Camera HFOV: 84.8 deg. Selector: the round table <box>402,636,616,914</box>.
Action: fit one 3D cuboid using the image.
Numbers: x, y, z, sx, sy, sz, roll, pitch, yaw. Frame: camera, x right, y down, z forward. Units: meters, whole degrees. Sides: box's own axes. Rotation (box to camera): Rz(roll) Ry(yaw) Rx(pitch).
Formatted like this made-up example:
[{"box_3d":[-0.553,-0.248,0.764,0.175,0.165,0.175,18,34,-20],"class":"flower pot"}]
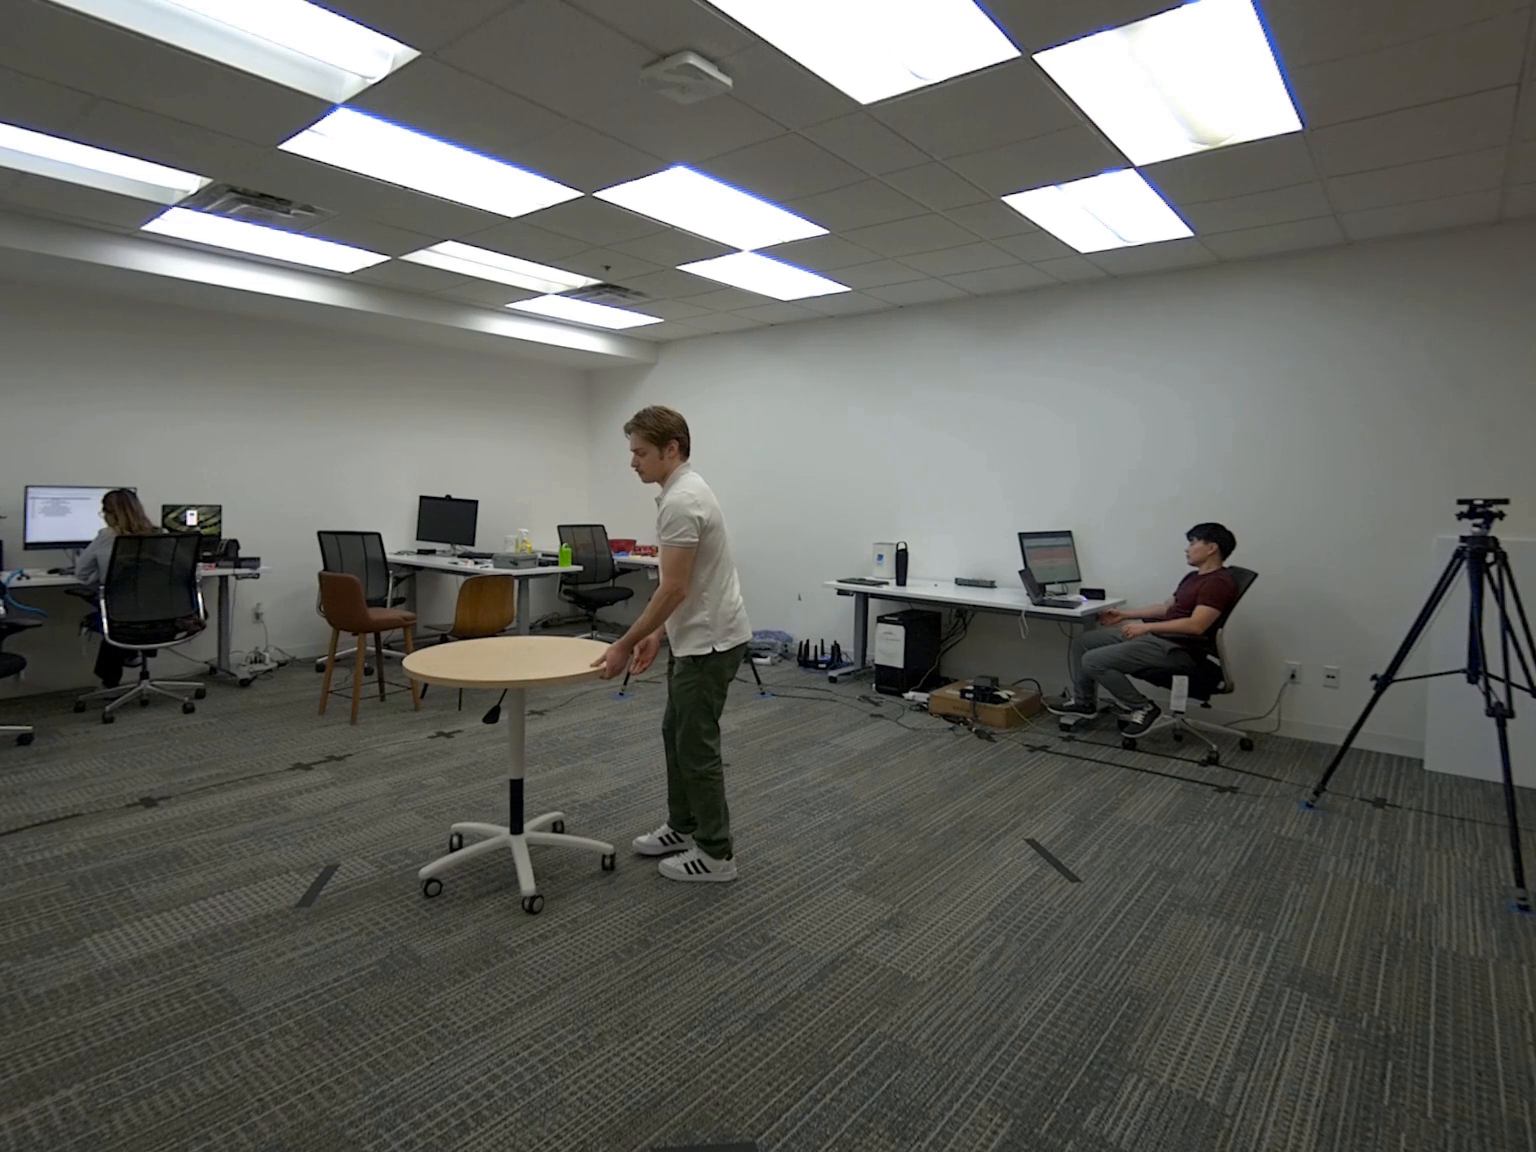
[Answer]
[{"box_3d":[-0.910,0.676,3.052,0.763,0.791,0.768,0,4,-2],"class":"round table"}]
